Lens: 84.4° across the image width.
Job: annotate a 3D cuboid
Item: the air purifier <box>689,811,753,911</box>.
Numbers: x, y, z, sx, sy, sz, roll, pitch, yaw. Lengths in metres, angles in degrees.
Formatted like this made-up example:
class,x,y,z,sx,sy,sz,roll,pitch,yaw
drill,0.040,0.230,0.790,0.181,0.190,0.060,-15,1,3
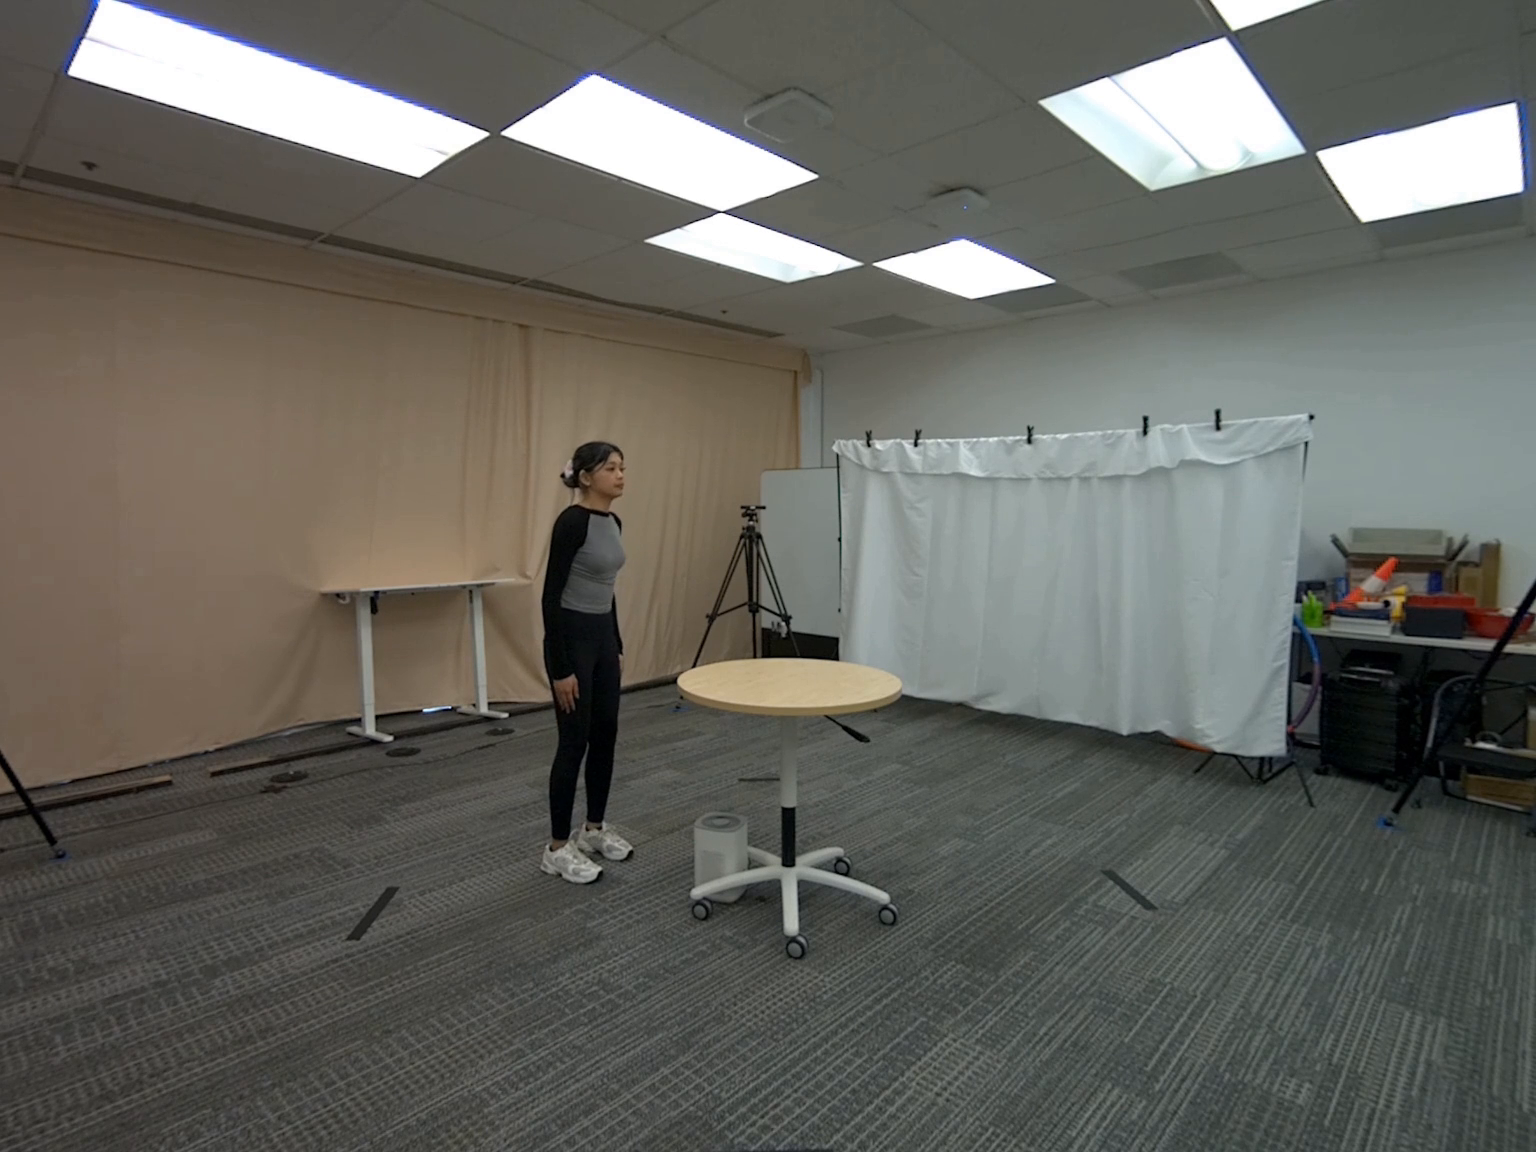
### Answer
class,x,y,z,sx,sy,sz,roll,pitch,yaw
air purifier,-0.166,1.005,3.013,0.175,0.265,0.167,1,3,21
